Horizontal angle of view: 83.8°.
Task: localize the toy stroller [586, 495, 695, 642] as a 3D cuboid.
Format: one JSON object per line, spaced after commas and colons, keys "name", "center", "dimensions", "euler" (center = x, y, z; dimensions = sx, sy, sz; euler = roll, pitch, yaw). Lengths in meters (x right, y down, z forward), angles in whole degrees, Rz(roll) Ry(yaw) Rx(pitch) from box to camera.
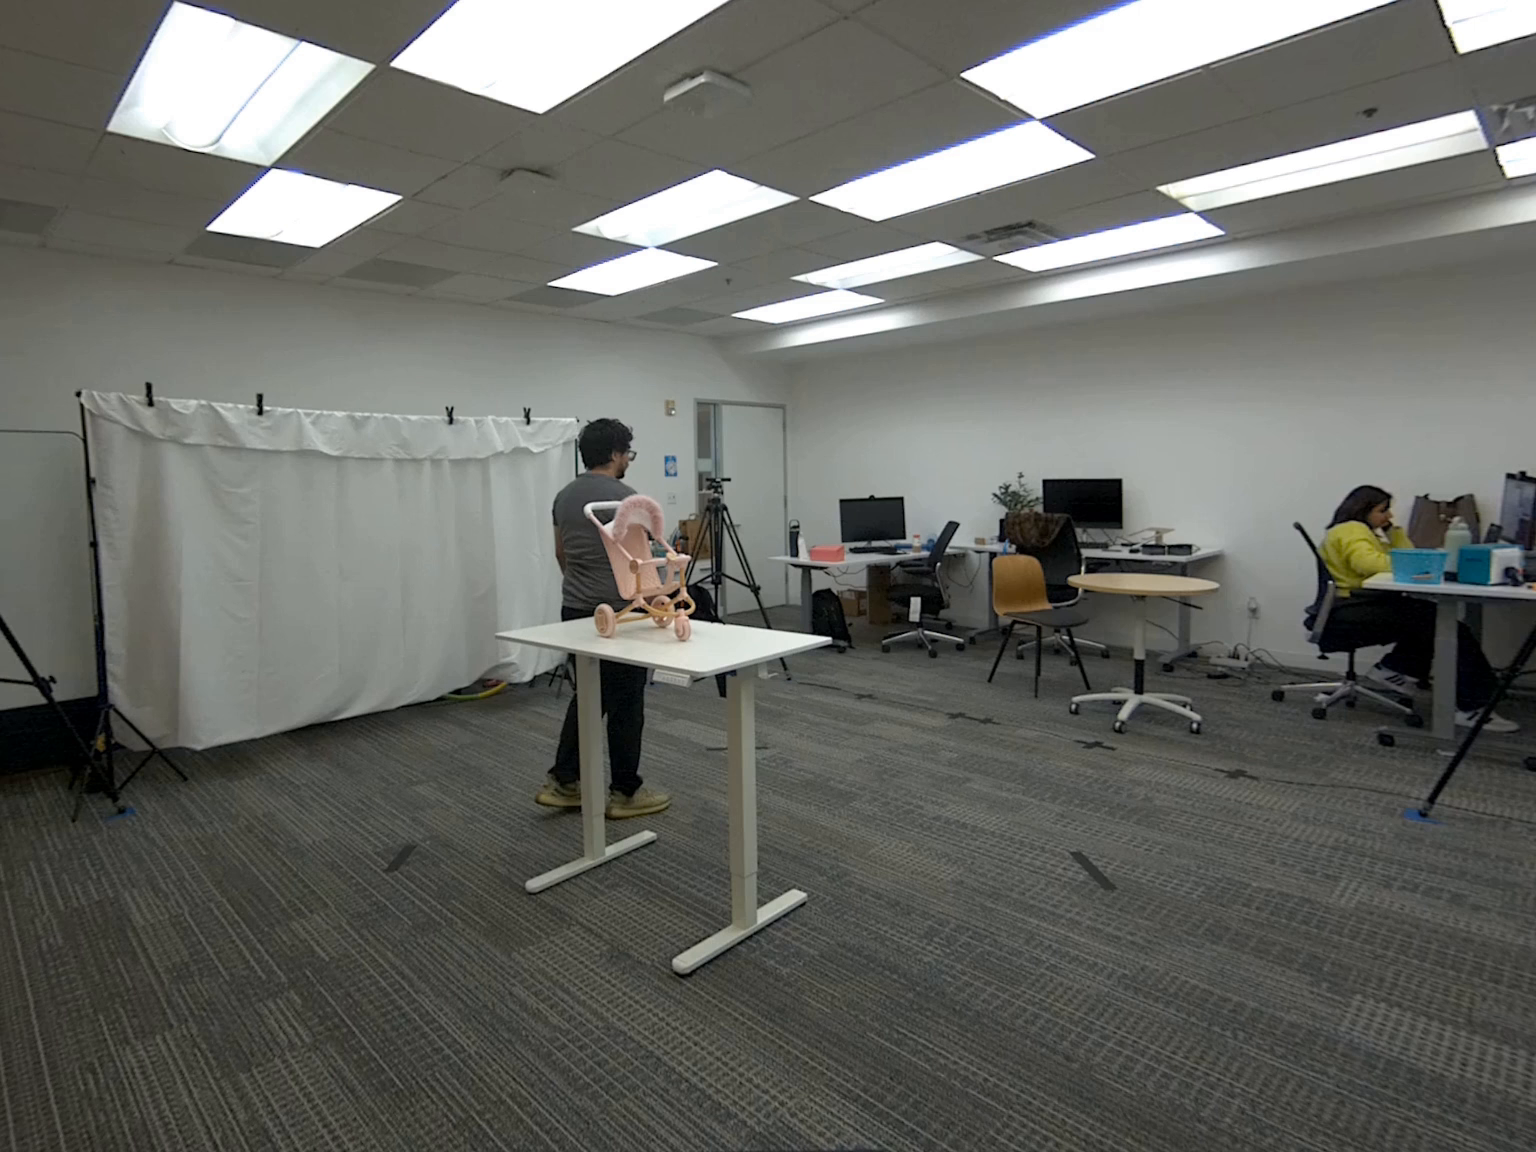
{"name": "toy stroller", "center": [-0.413, -0.029, 2.848], "dimensions": [0.274, 0.539, 0.347], "euler": [-5, -9, -40]}
